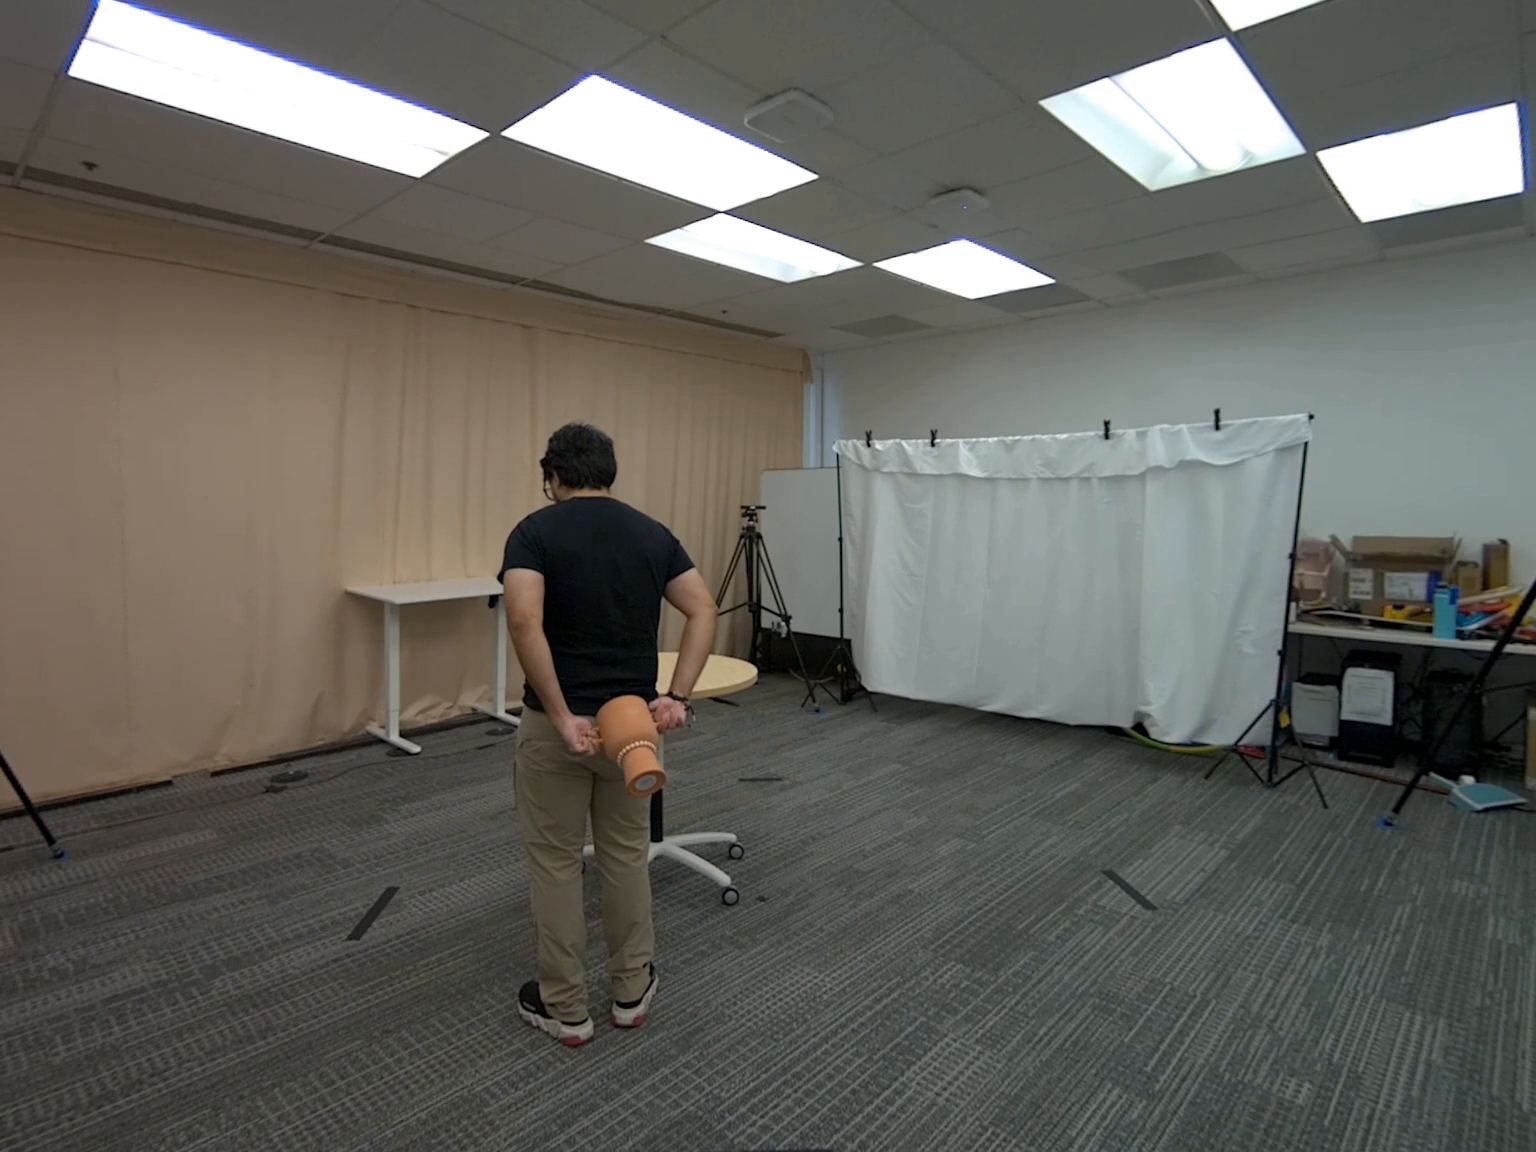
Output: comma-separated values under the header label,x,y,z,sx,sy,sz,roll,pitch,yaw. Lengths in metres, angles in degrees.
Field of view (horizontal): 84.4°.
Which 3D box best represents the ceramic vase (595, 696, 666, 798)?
label,x,y,z,sx,sy,sz,roll,pitch,yaw
ceramic vase,-0.321,0.408,2.028,0.130,0.160,0.226,35,19,-41
